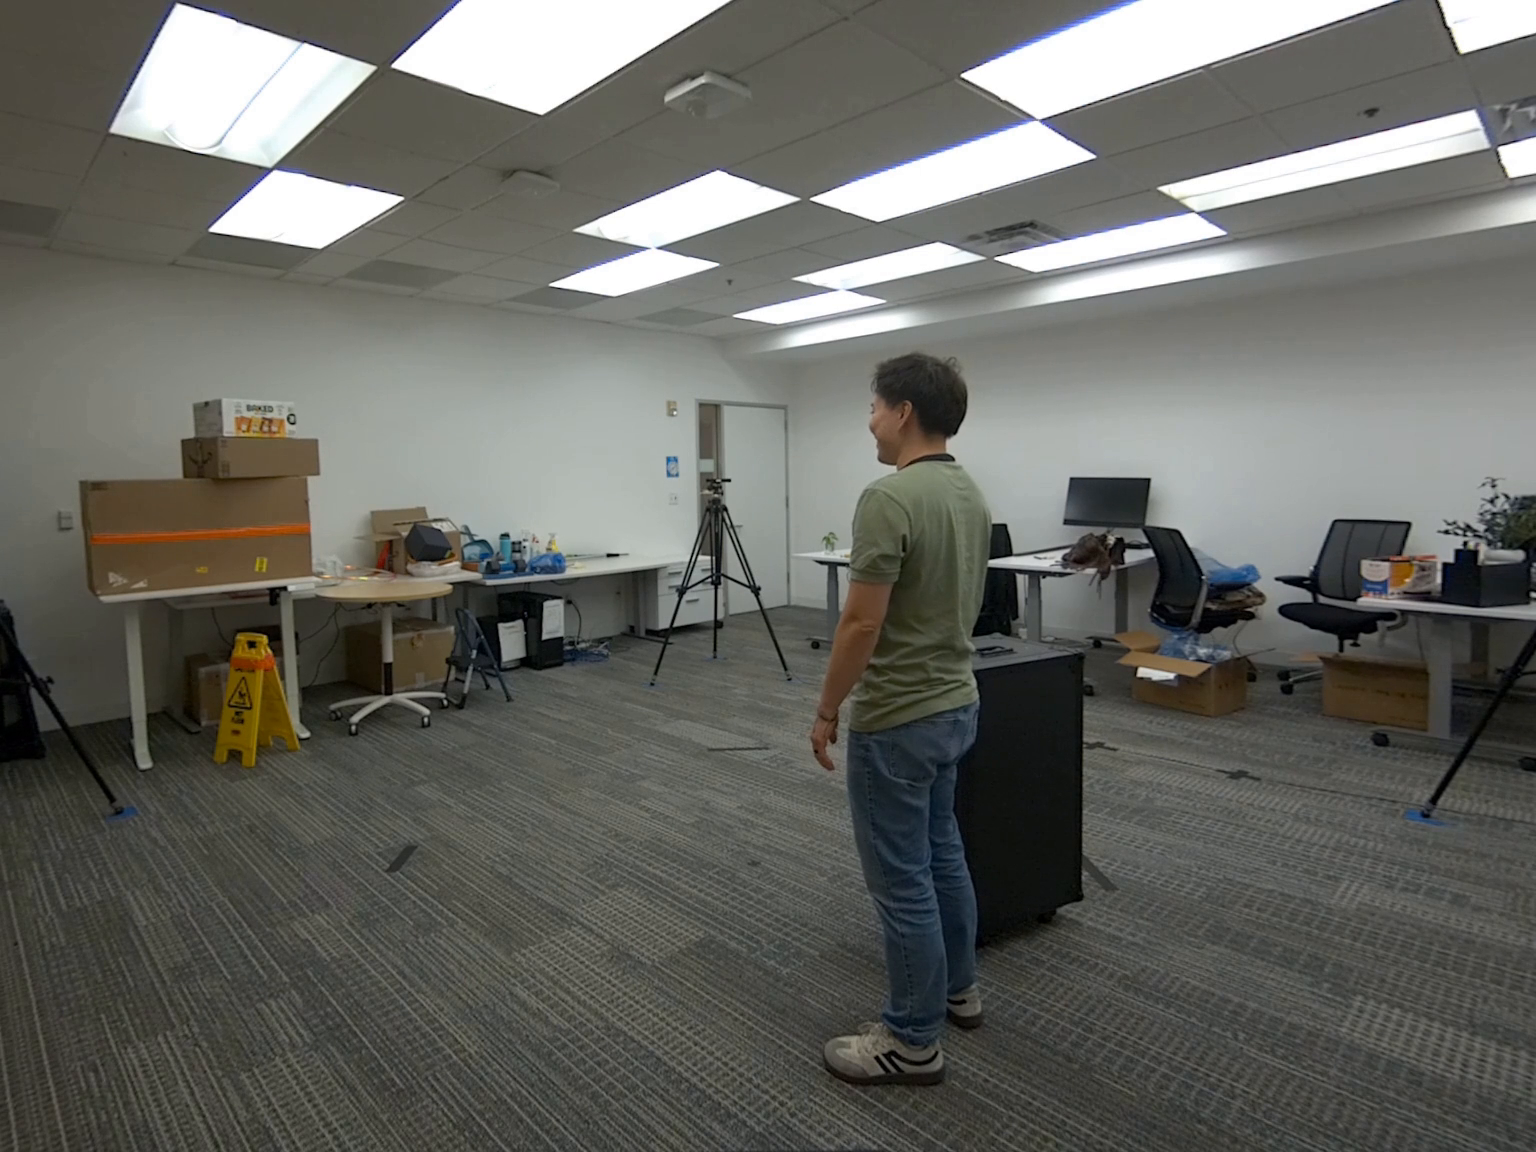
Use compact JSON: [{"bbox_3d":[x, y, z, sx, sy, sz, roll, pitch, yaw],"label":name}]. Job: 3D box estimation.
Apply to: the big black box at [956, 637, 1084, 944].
[{"bbox_3d":[0.676,0.651,2.684,0.509,0.859,0.406,-4,4,-29],"label":"big black box"}]
